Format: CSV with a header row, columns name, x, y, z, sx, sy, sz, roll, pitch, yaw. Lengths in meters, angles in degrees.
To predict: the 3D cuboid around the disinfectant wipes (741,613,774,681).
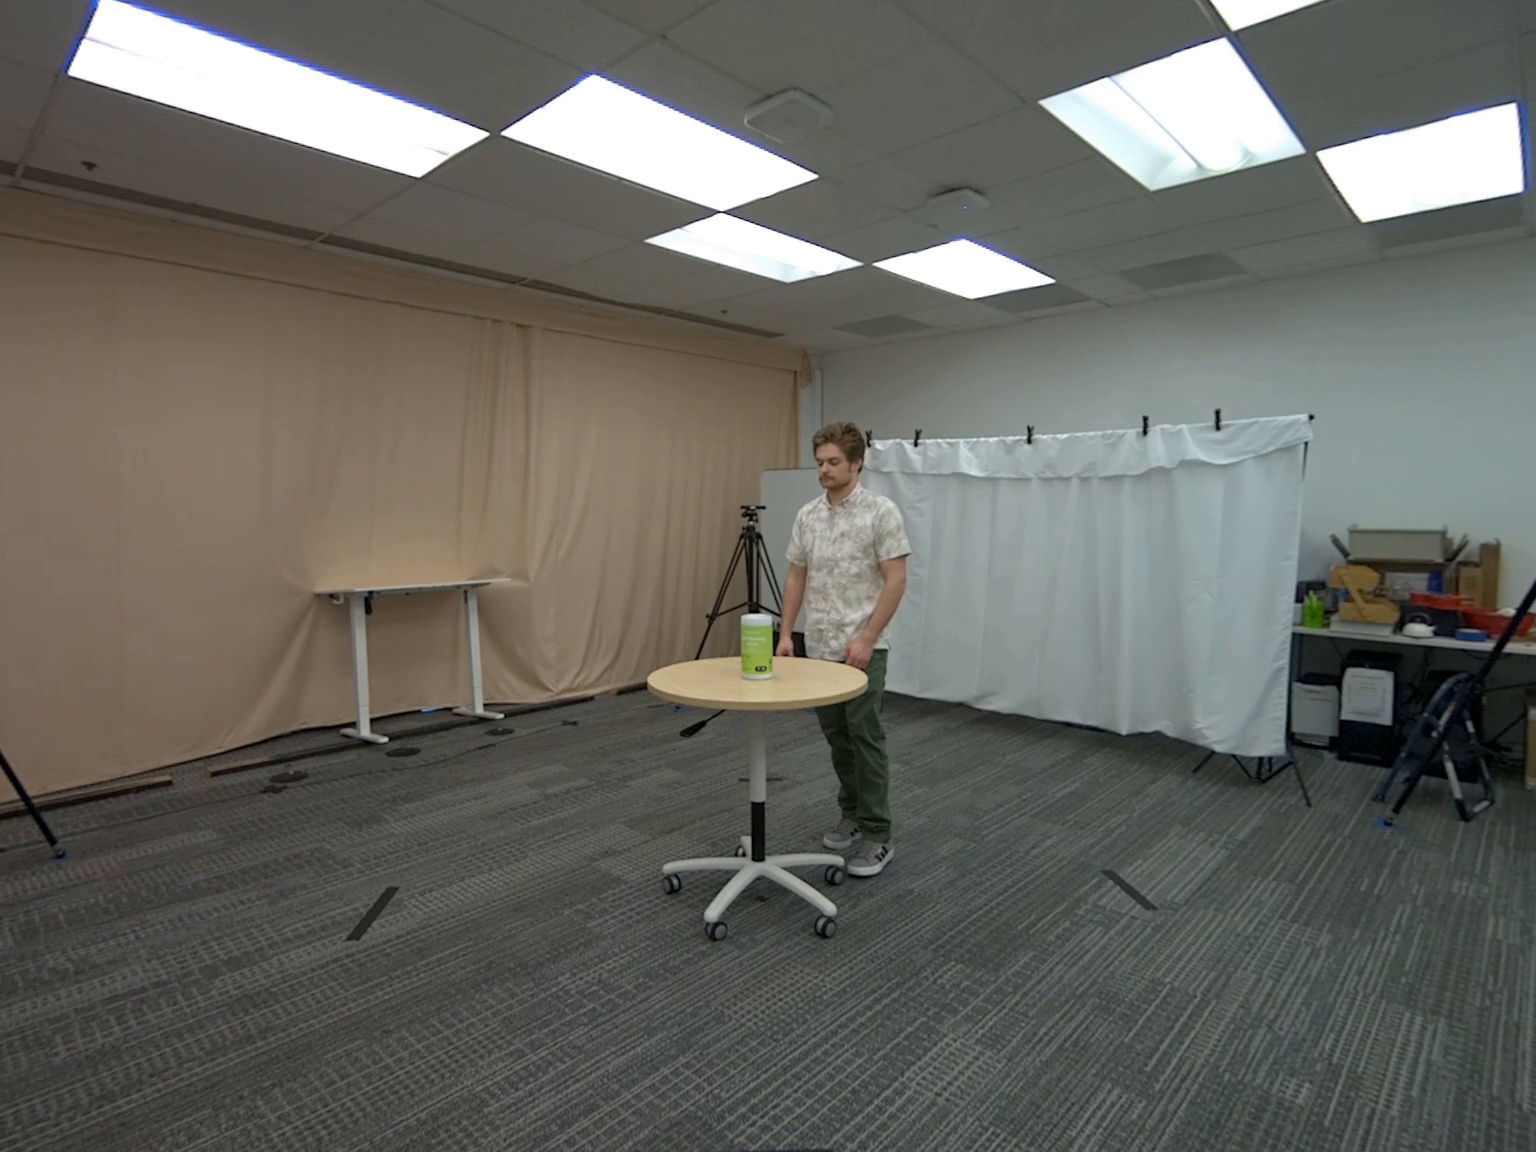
name,x,y,z,sx,sy,sz,roll,pitch,yaw
disinfectant wipes,-0.036,0.246,2.928,0.118,0.217,0.118,0,3,-2
